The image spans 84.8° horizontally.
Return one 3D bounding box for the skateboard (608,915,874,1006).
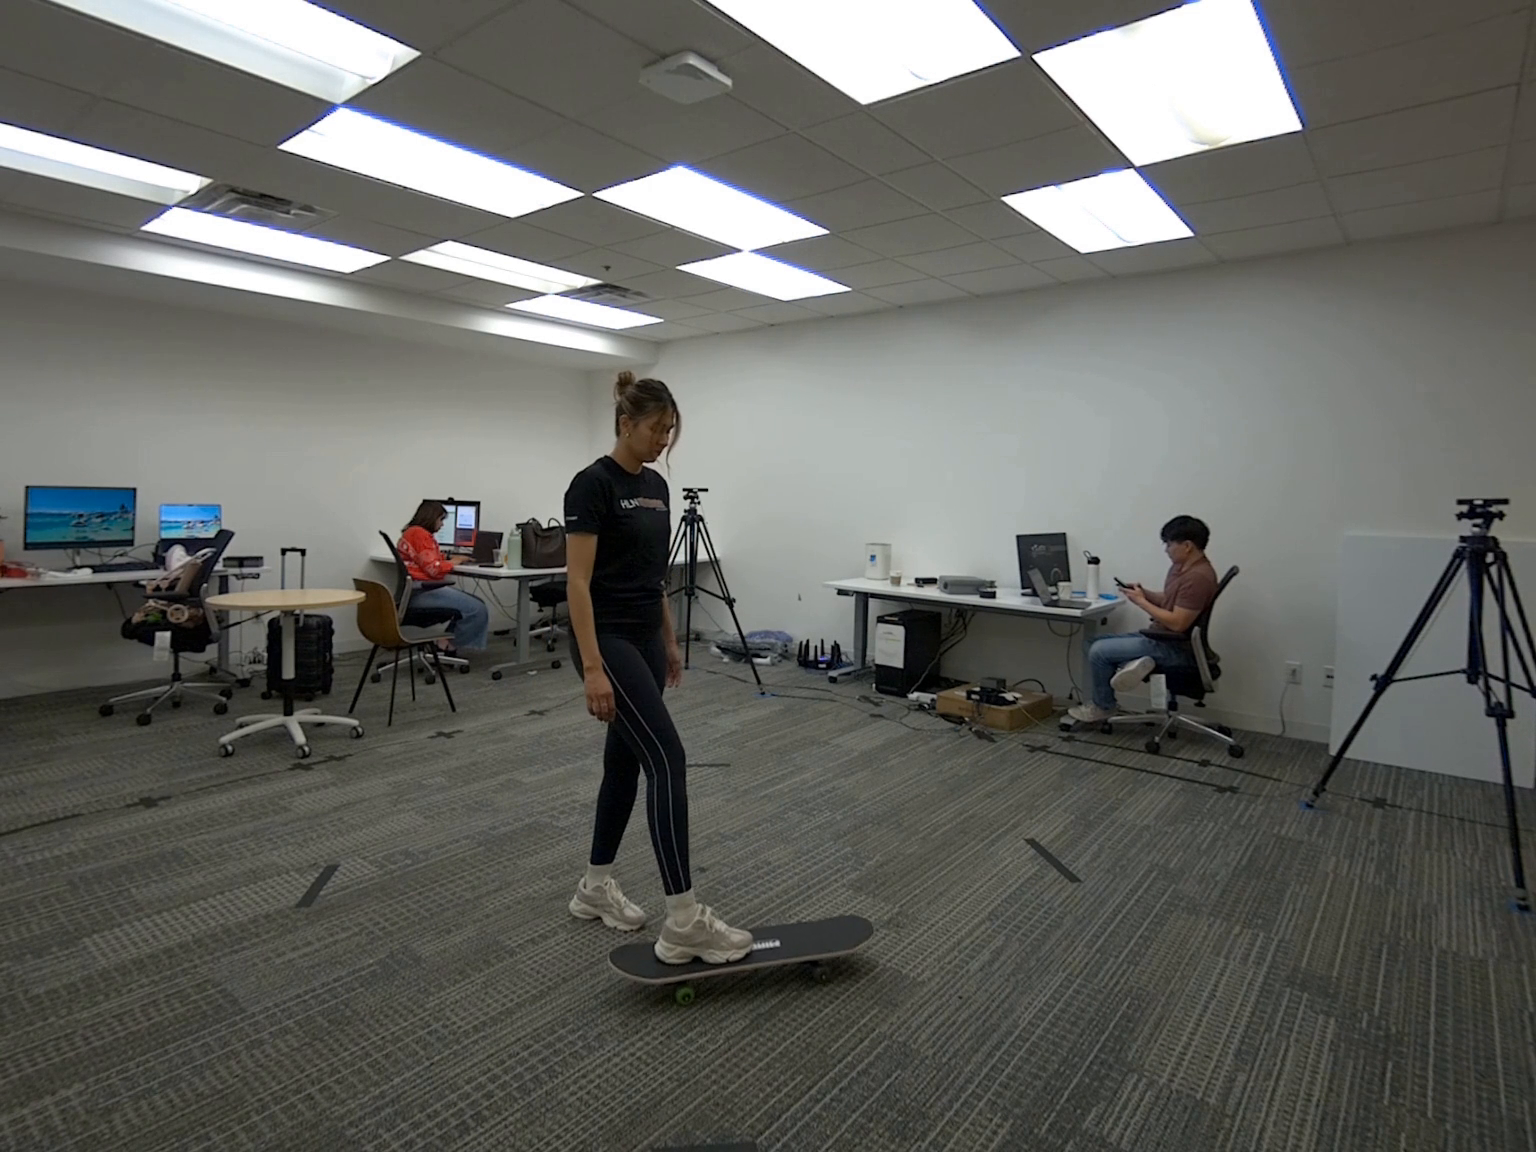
[{"bbox_3d":[-0.068,1.085,2.414,0.772,0.110,0.197,0,5,-16],"label":"skateboard"}]
